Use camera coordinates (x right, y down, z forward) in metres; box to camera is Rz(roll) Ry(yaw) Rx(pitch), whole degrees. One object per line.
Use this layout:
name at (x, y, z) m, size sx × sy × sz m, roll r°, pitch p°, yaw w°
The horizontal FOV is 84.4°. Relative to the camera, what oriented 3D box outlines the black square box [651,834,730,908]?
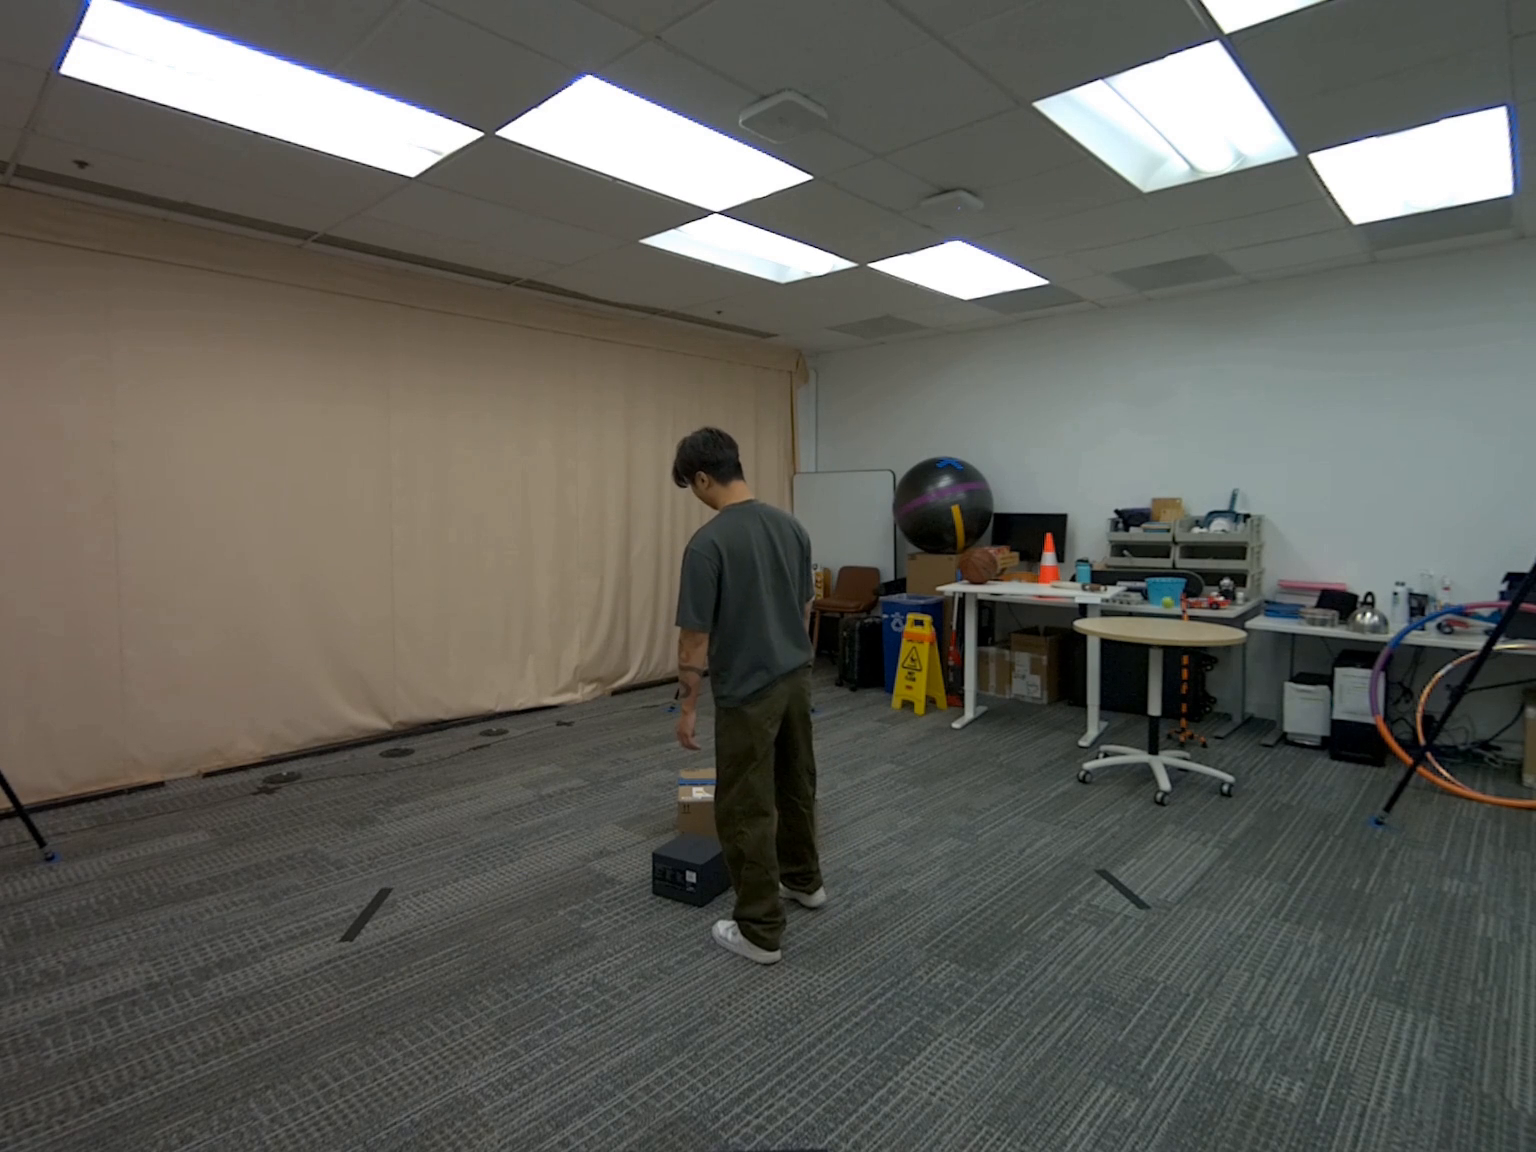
black square box at (-0.265, 1.055, 3.054) m, size 0.223 × 0.155 × 0.222 m, roll 1°, pitch 4°, yaw 29°
